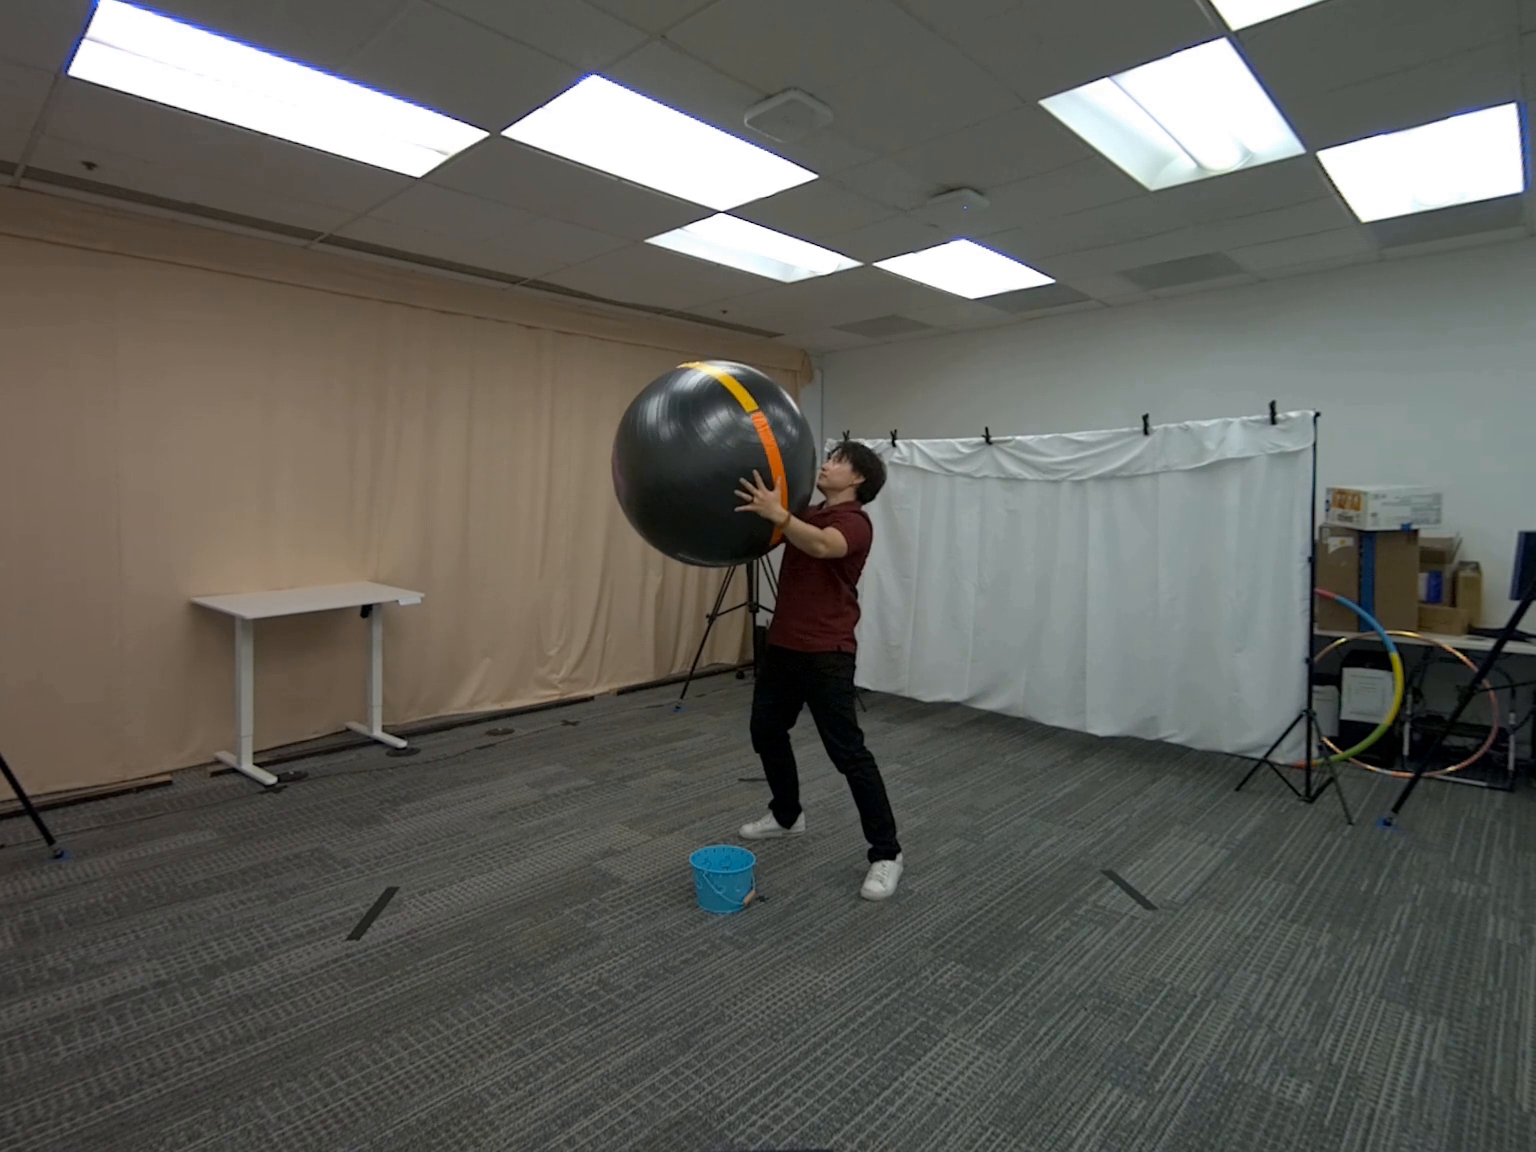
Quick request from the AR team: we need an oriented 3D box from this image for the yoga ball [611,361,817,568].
[{"bbox_3d":[-0.201,-0.410,3.134,0.757,0.756,0.760,0,4,-2],"label":"yoga ball"}]
